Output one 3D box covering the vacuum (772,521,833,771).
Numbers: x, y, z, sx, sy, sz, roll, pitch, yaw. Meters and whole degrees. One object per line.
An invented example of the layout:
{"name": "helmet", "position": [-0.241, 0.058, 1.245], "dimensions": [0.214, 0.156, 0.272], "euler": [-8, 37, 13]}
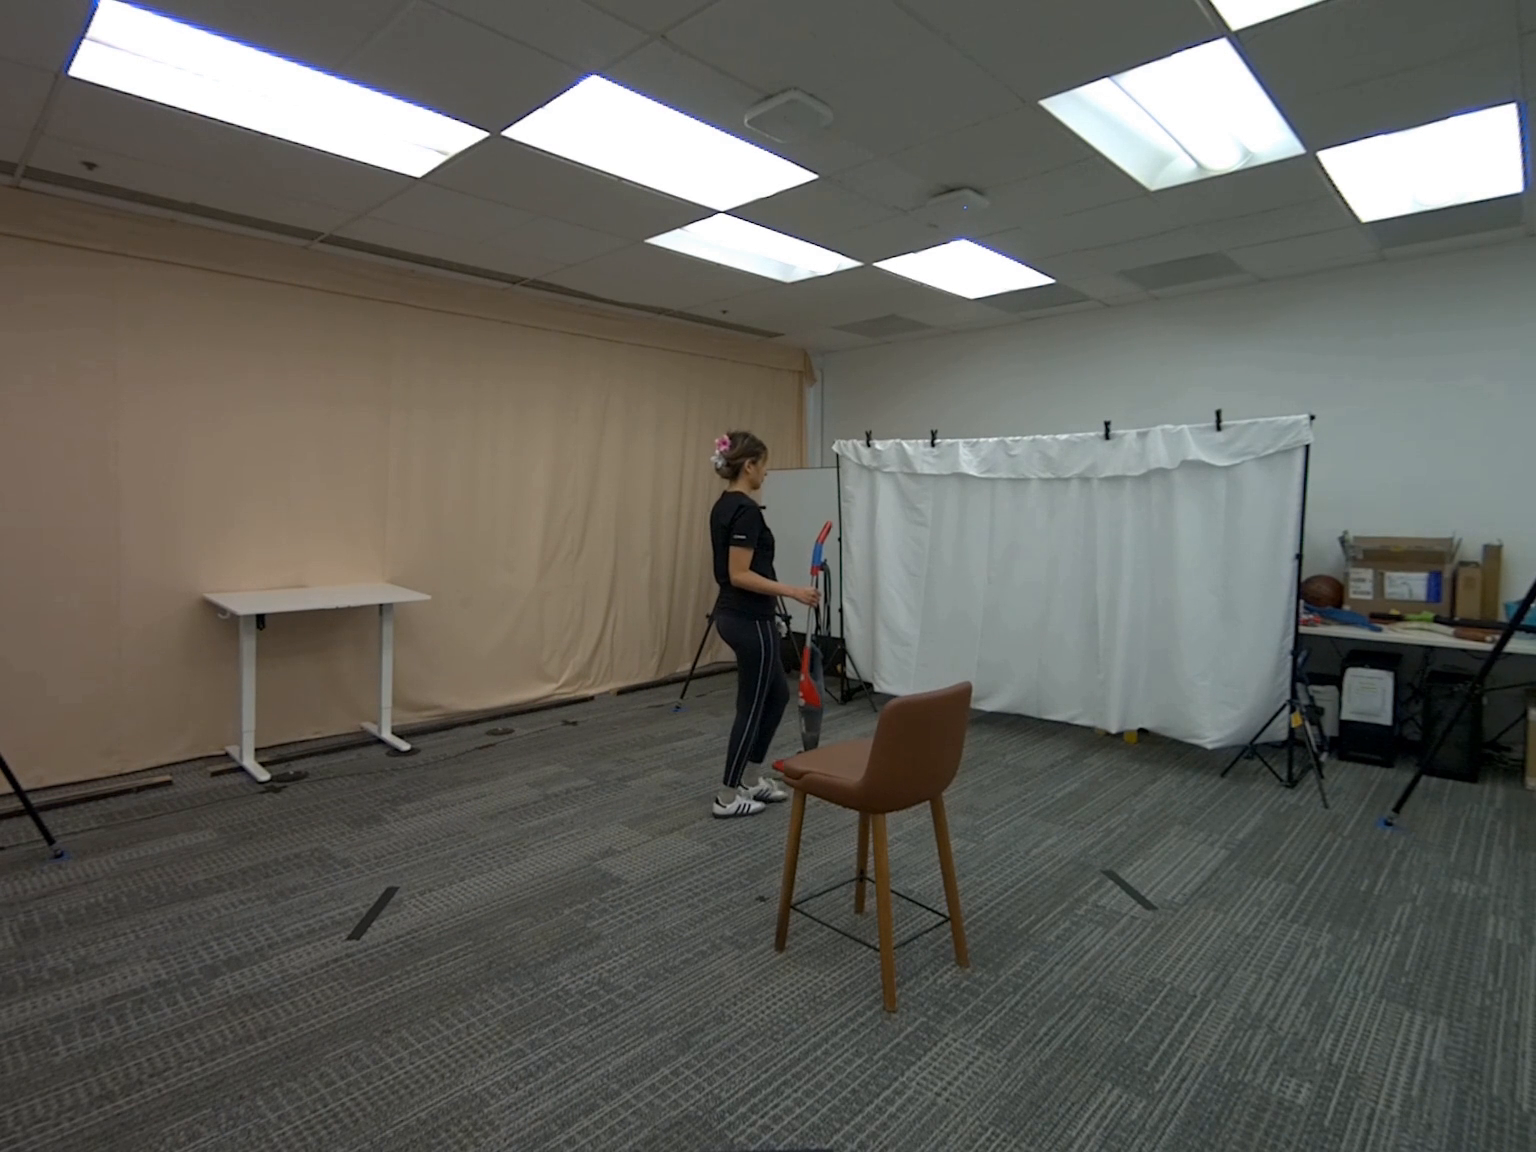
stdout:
{"name": "vacuum", "position": [0.208, 0.300, 3.584], "dimensions": [0.139, 1.051, 0.261], "euler": [9, -4, -44]}
